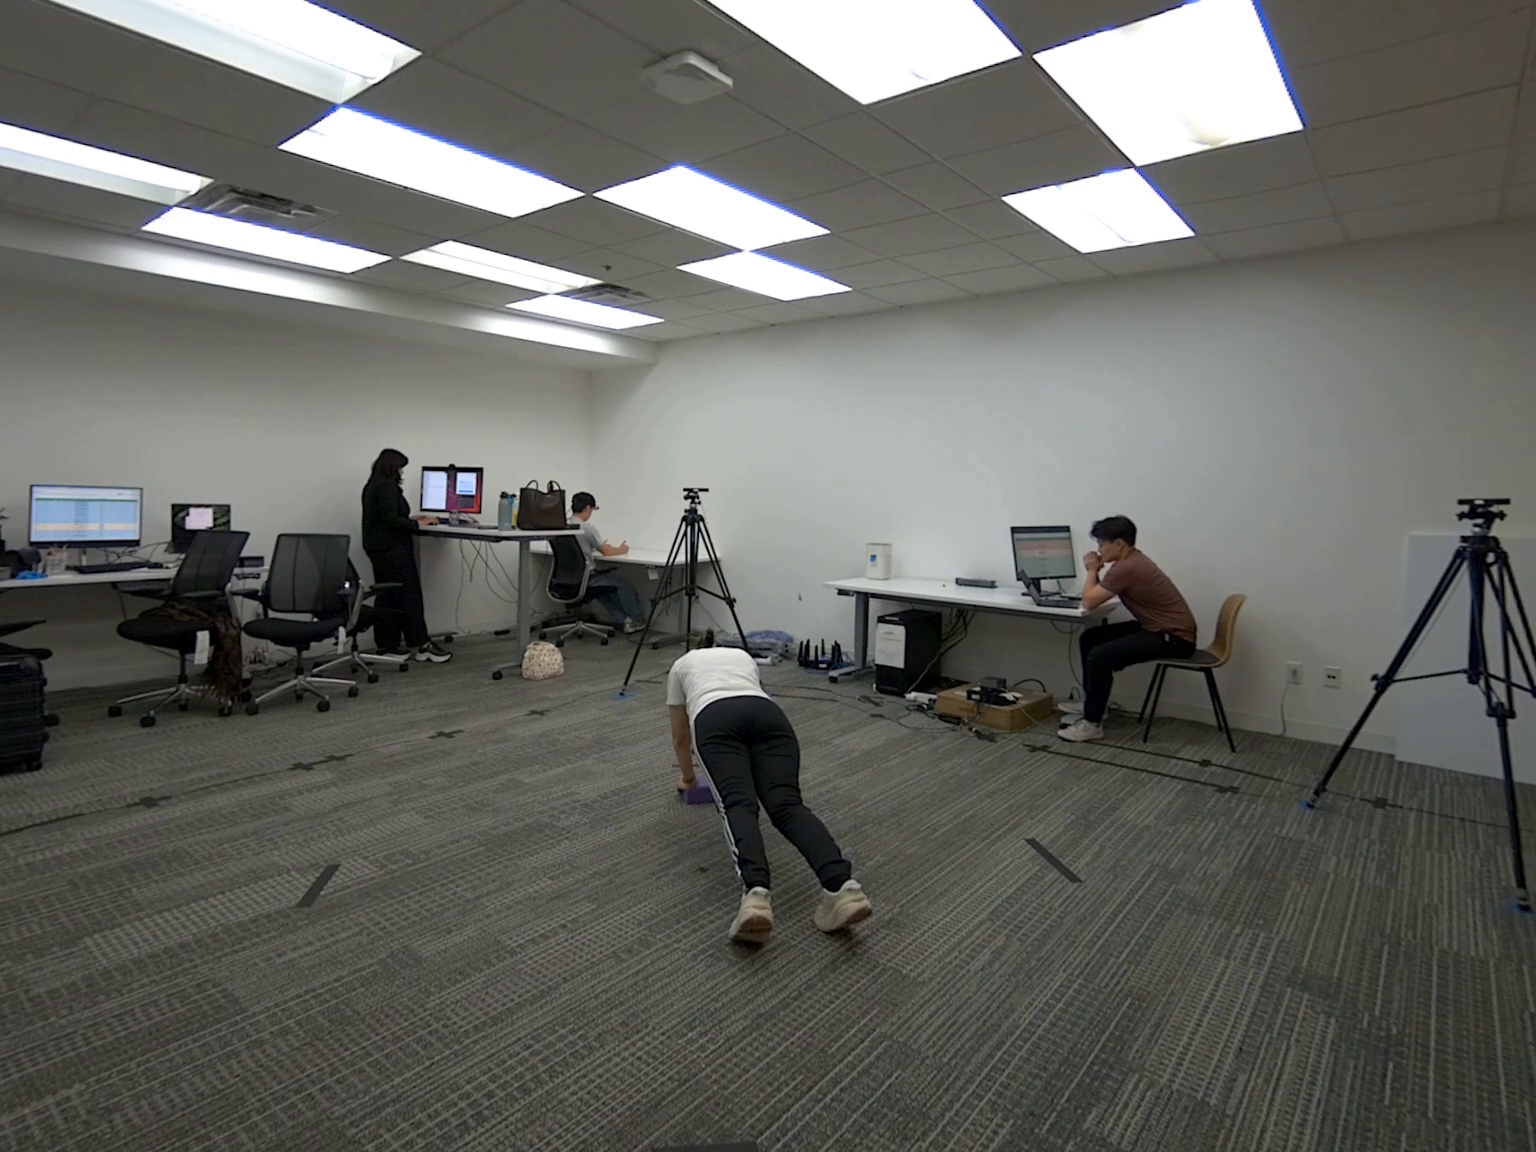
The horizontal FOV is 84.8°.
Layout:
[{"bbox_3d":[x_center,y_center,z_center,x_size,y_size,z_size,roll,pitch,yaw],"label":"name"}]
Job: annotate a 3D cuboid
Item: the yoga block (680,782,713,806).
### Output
[{"bbox_3d":[-0.273,0.957,3.838,0.226,0.076,0.152,-2,6,-14],"label":"yoga block"}]
